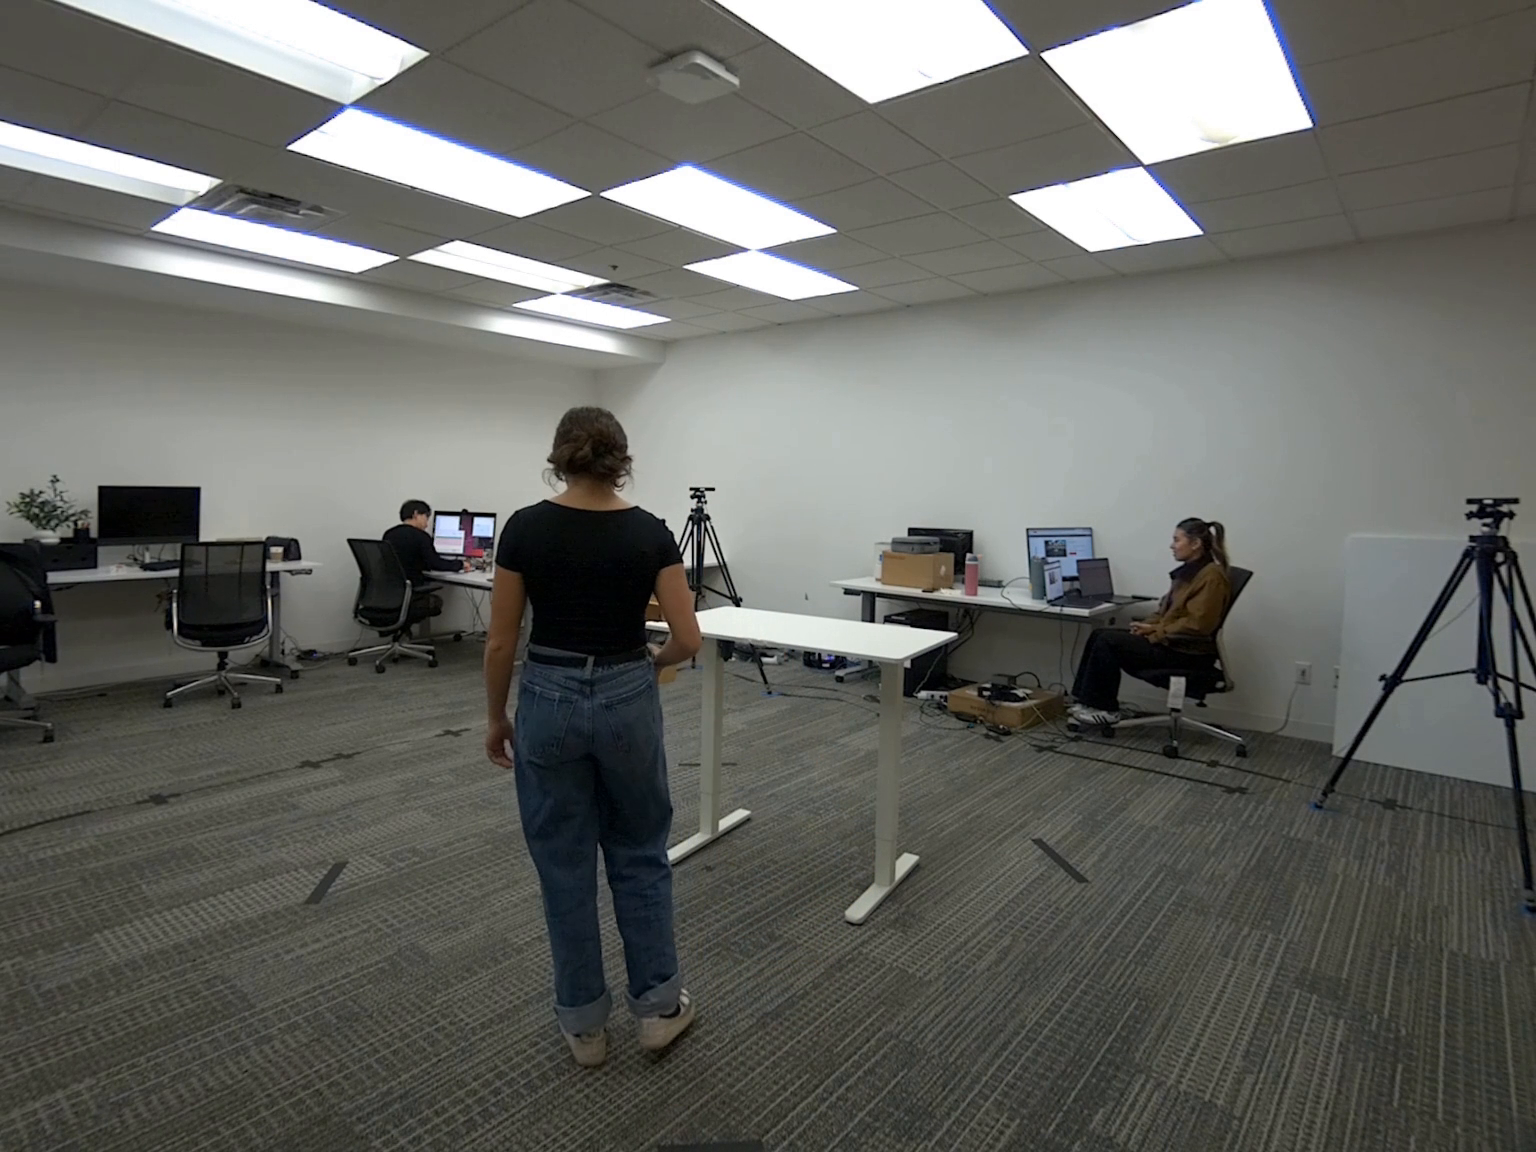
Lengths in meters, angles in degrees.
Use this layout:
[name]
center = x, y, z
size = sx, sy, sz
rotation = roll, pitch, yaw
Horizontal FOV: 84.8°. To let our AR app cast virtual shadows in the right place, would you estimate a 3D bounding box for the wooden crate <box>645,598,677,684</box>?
[wooden crate]
center = -0.424, 0.147, 2.382
size = 0.332, 0.274, 0.294
rotation = 9, -2, 21
